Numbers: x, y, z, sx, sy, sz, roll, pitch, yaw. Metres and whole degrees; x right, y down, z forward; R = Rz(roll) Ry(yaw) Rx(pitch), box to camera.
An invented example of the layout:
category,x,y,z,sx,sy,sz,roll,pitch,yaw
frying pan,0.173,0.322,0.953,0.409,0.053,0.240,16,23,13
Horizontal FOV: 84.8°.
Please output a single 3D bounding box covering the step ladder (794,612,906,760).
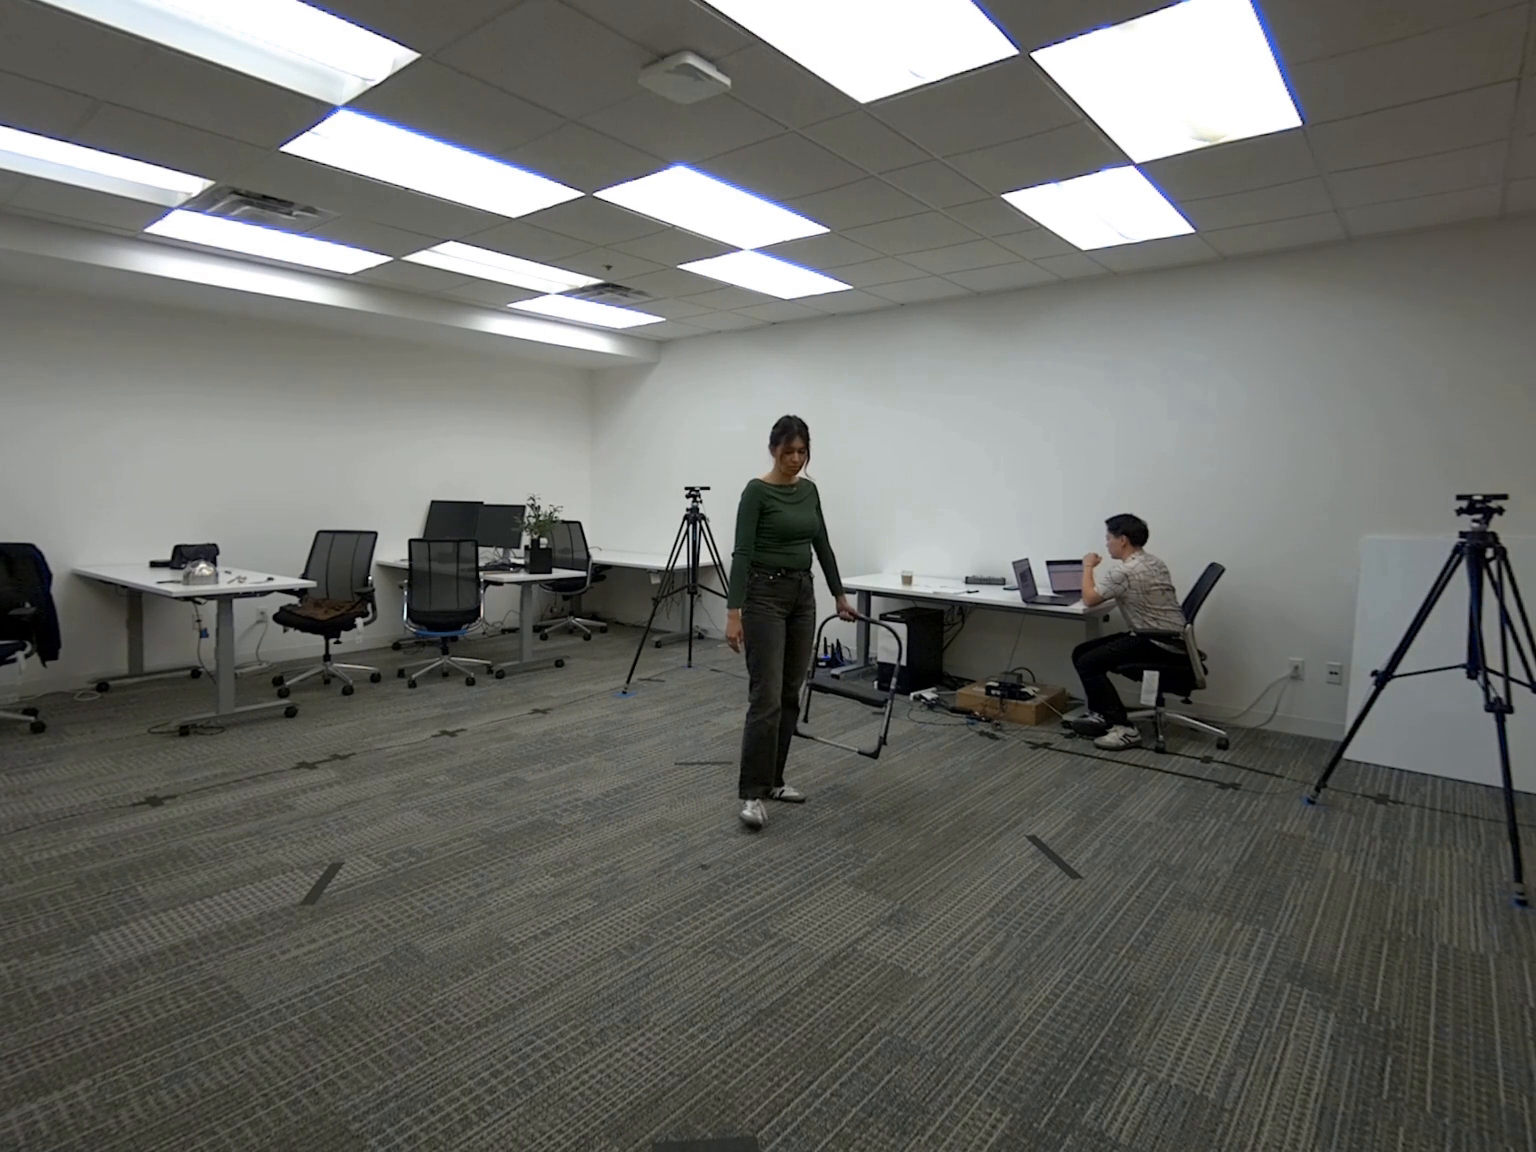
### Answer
category,x,y,z,sx,sy,sz,roll,pitch,yaw
step ladder,0.388,0.487,4.036,0.438,0.605,0.344,12,3,14
